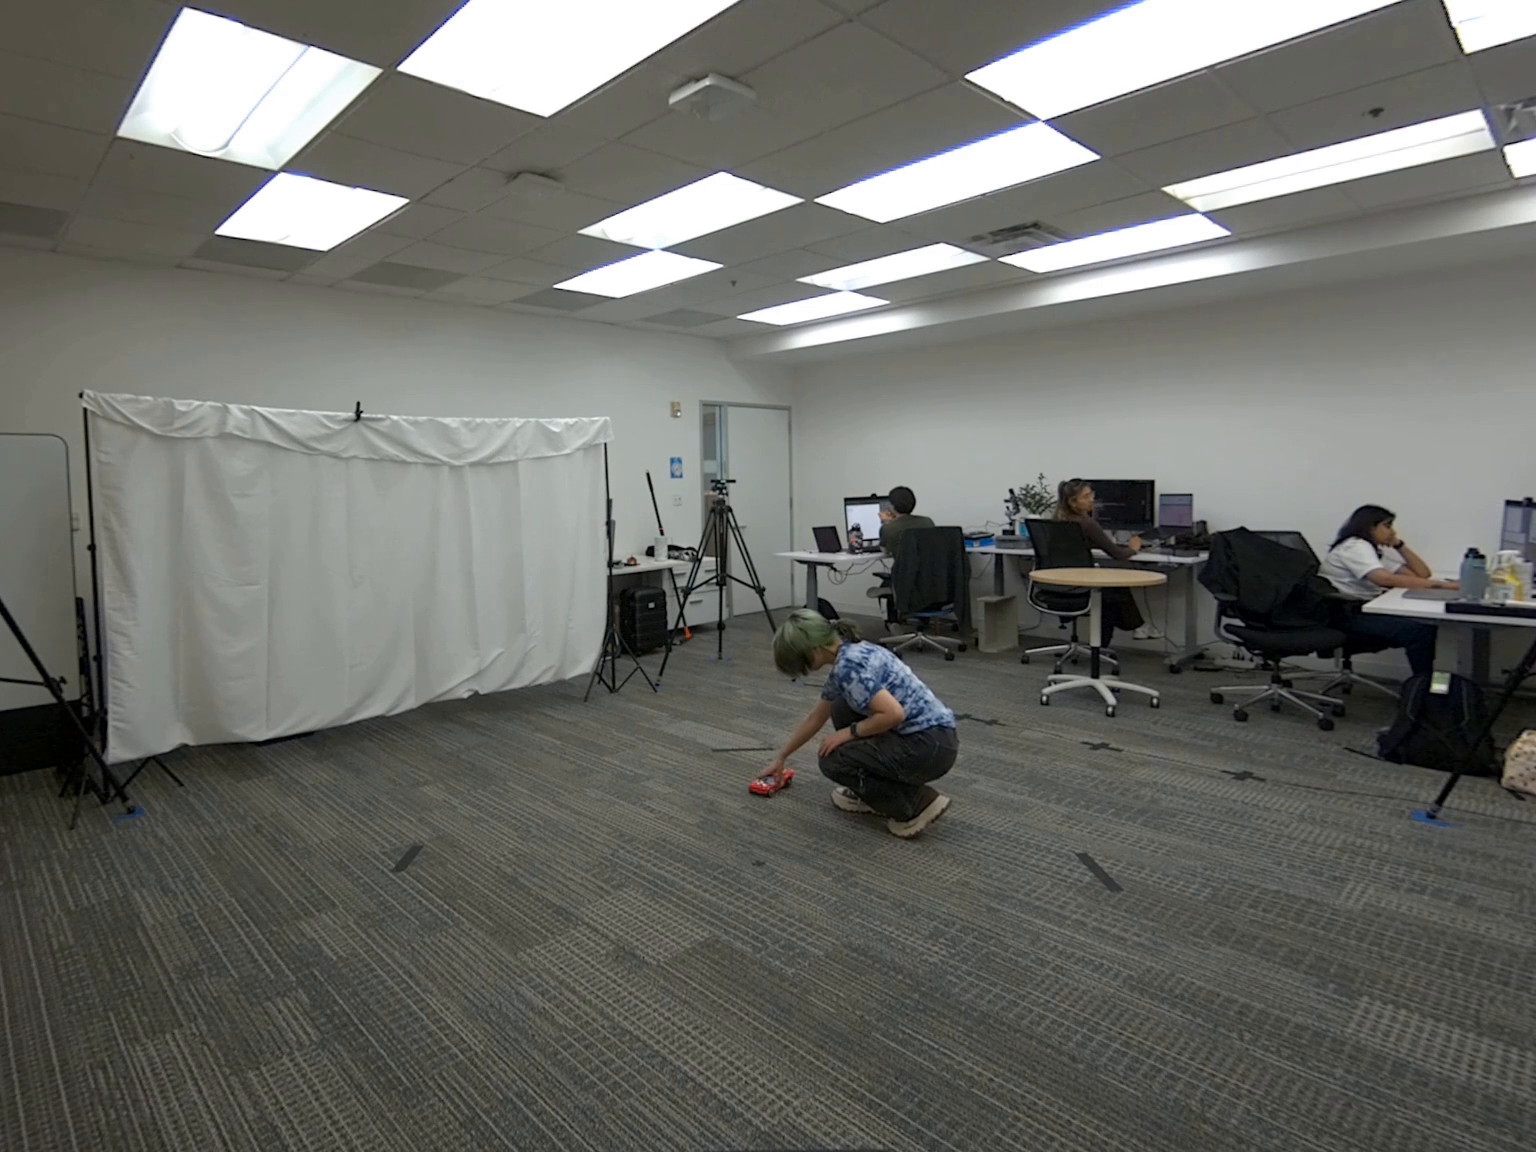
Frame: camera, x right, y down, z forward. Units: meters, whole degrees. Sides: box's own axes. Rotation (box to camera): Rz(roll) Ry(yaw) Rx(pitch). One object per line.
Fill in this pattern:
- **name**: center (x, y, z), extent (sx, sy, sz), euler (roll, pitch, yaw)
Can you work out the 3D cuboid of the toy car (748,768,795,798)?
- **toy car**: center (0.027, 0.932, 3.873), extent (0.134, 0.082, 0.251), euler (2, 19, 35)
